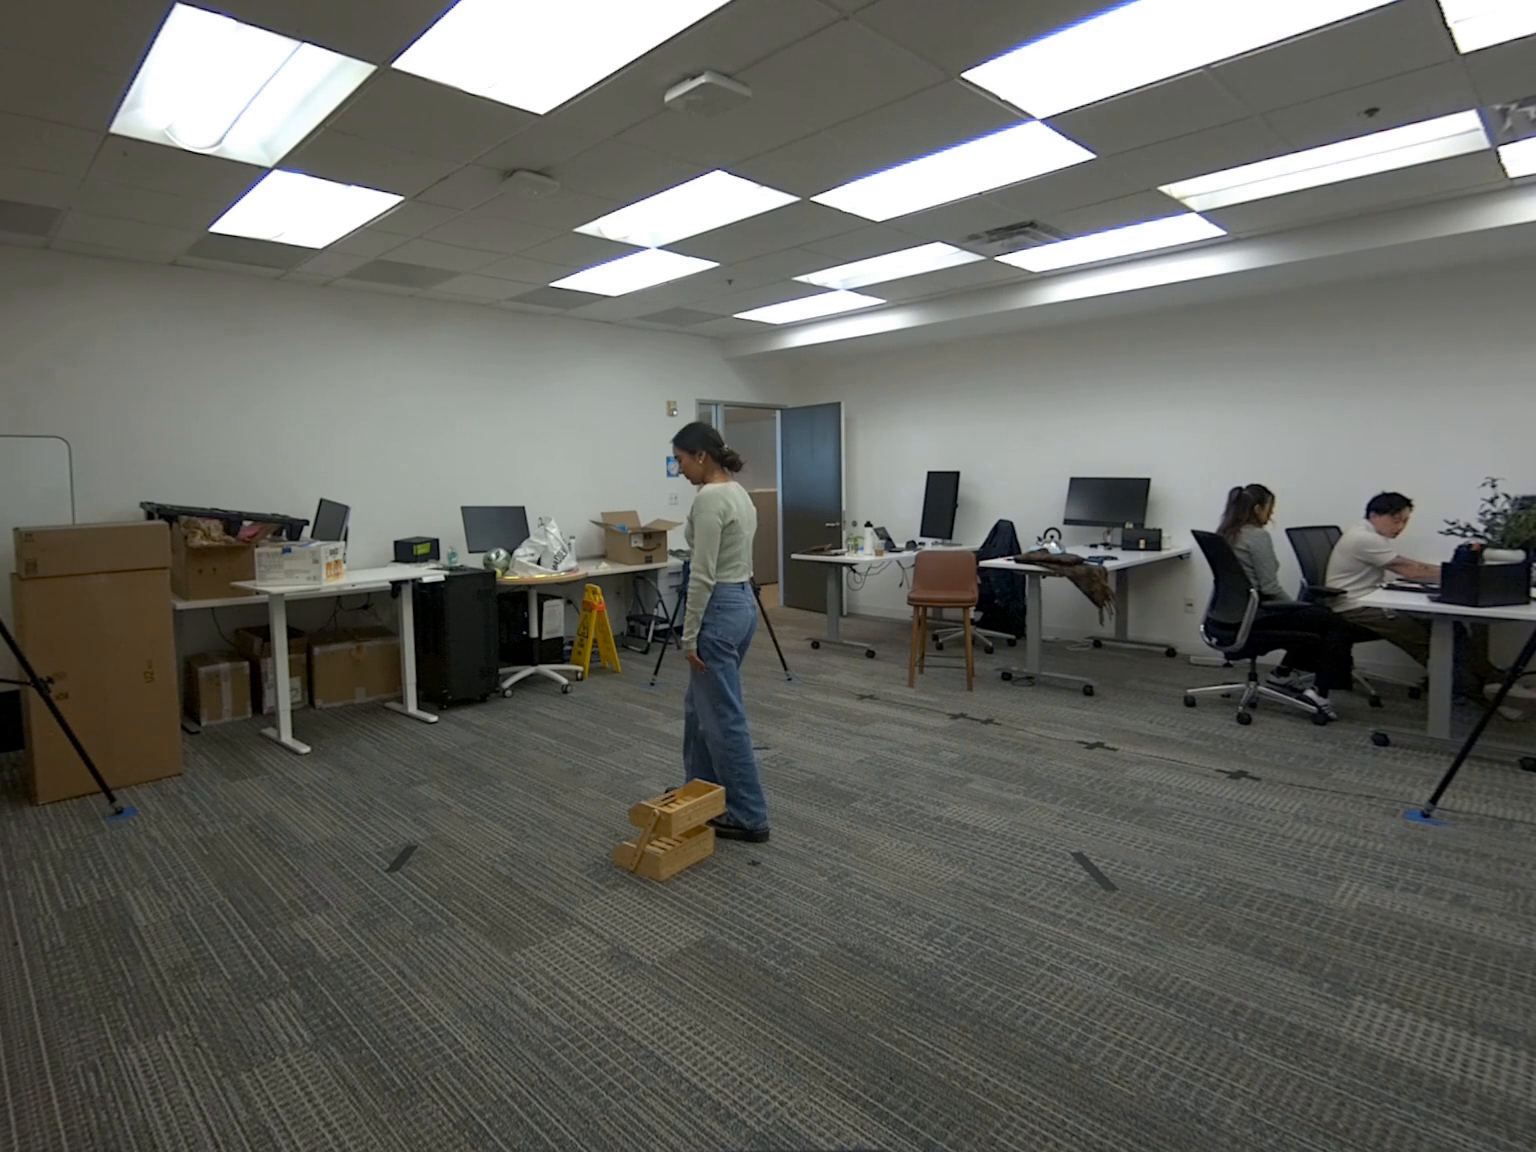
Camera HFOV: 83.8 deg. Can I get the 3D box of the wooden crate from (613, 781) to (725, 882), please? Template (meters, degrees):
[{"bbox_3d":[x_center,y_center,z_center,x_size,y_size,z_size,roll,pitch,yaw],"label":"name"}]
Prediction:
[{"bbox_3d":[-0.366,0.910,3.142,0.311,0.272,0.316,4,7,37],"label":"wooden crate"}]
